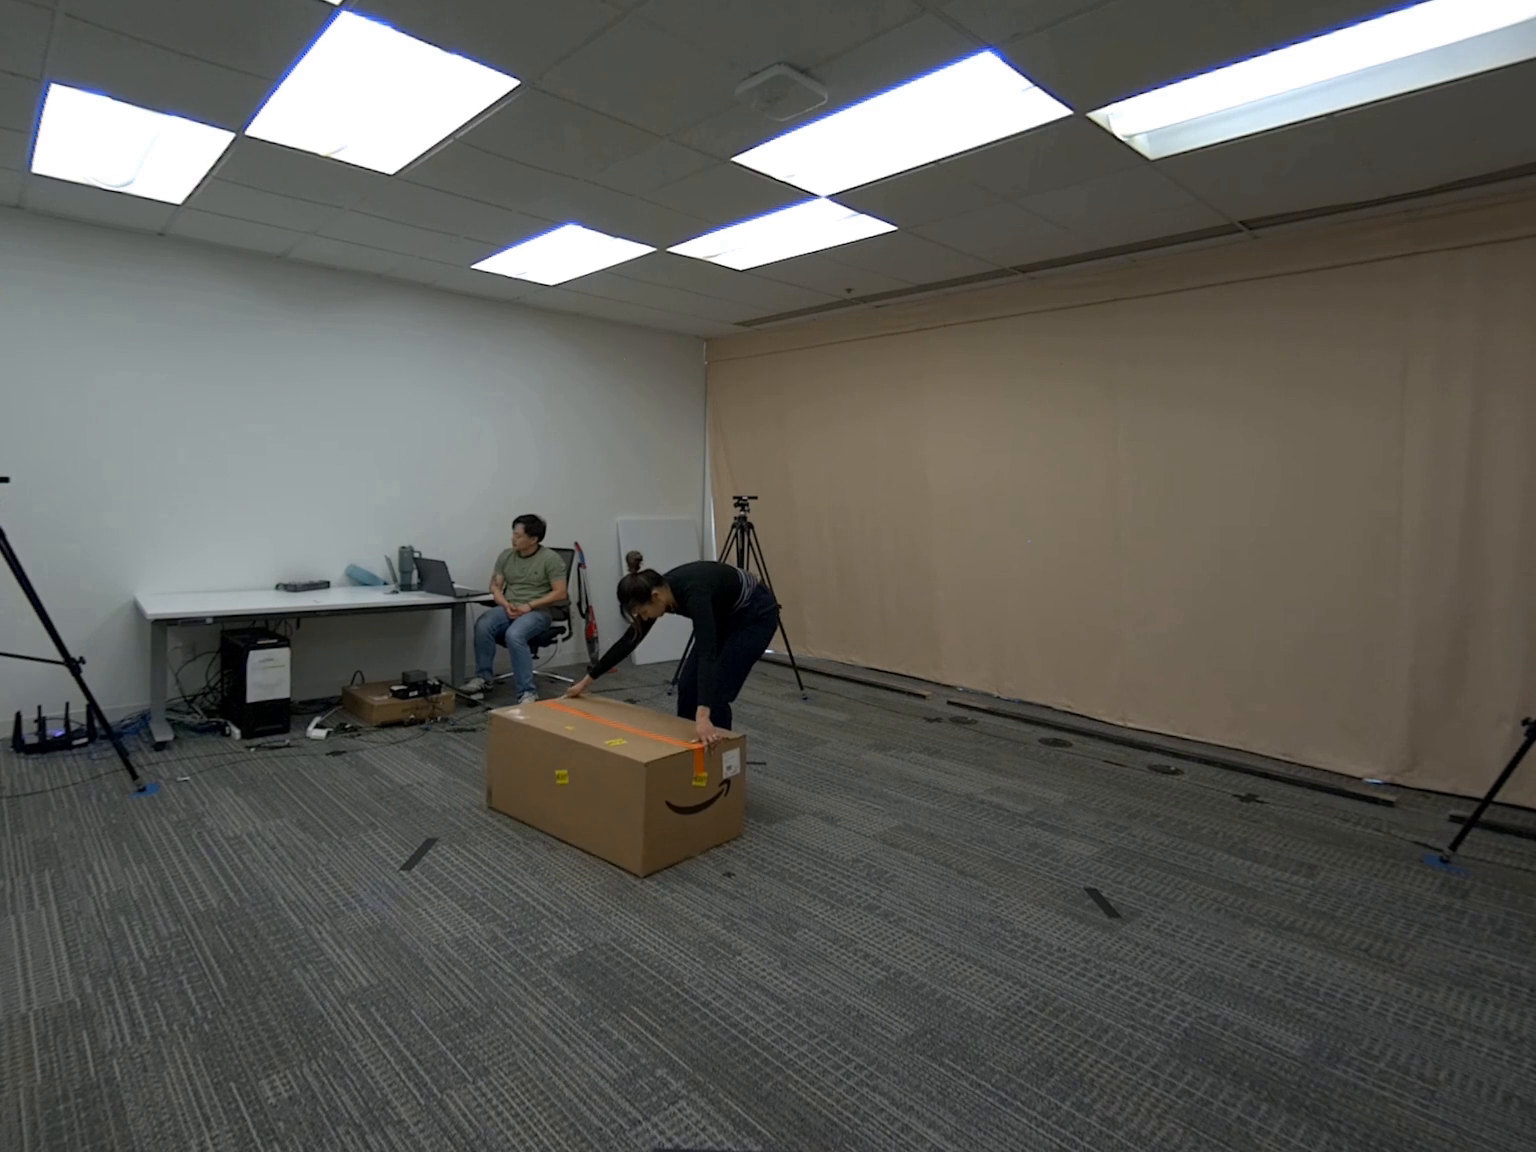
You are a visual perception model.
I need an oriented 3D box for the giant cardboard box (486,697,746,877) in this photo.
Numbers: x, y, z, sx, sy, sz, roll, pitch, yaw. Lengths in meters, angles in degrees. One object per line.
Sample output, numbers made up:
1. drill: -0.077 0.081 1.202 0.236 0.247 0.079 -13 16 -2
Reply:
1. giant cardboard box: -0.674 0.831 3.587 1.052 0.425 0.564 5 5 40
